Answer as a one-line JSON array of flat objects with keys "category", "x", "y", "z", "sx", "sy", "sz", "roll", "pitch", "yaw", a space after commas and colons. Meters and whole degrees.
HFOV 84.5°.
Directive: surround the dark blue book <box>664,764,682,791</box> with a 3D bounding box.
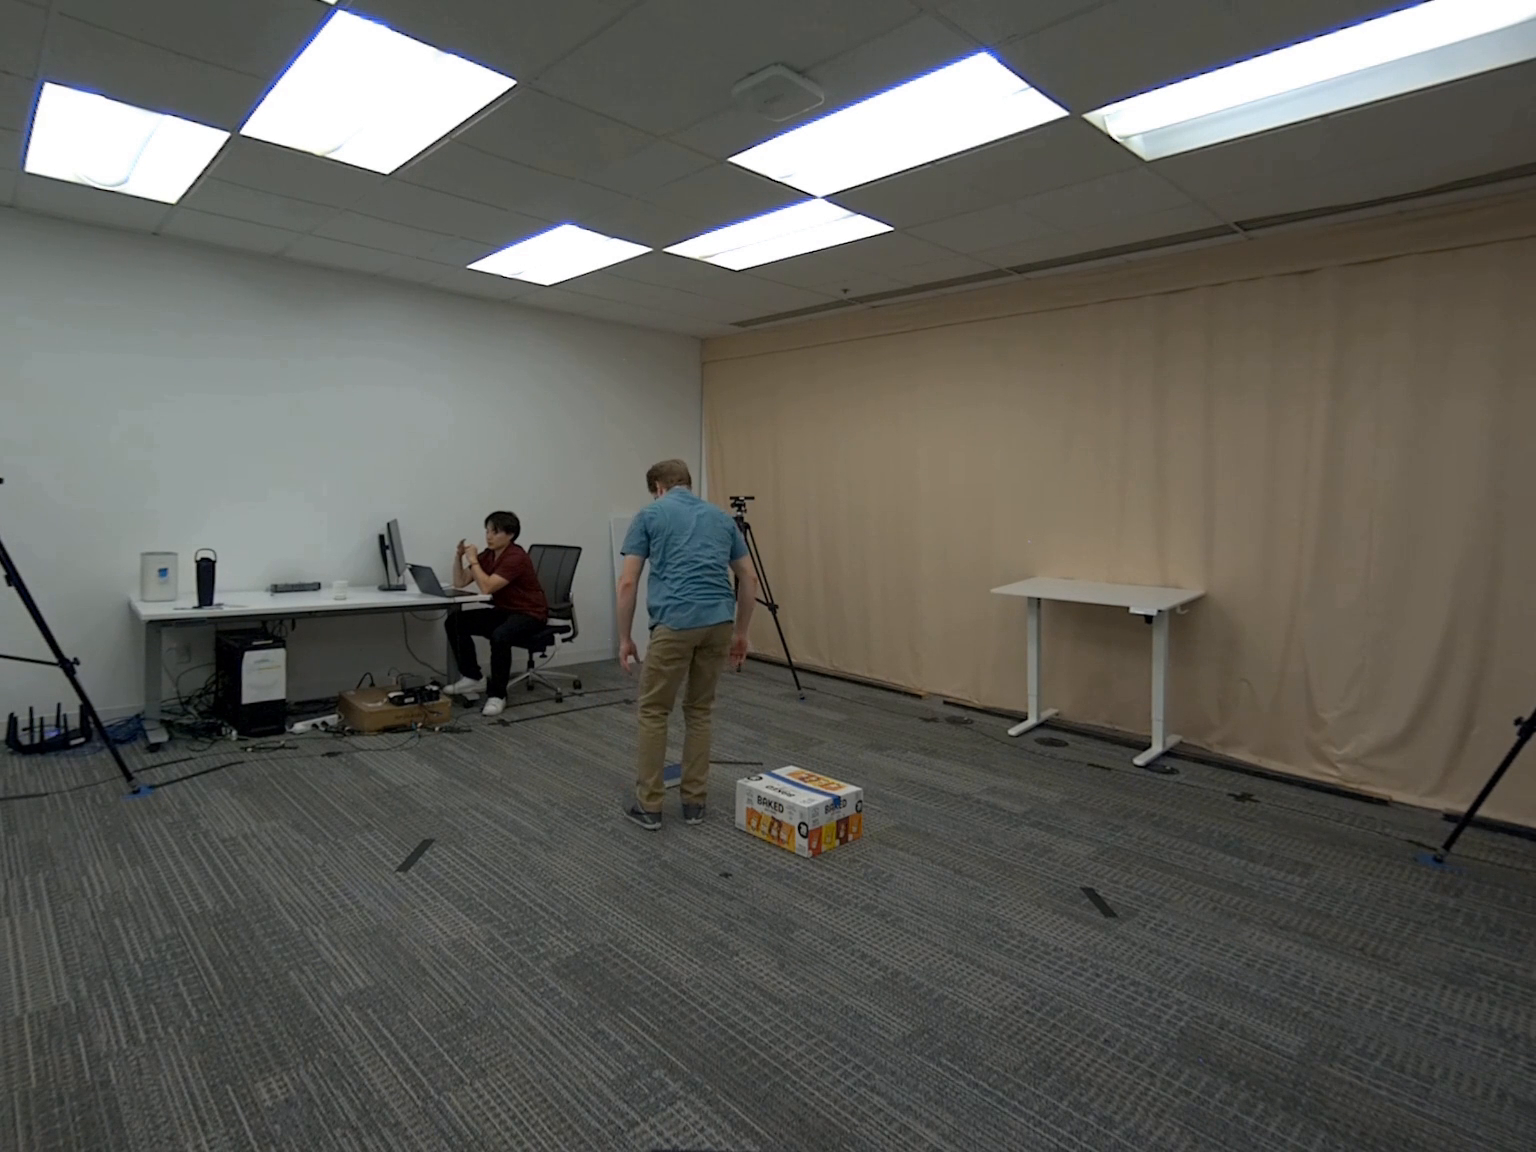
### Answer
[{"category": "dark blue book", "x": -0.471, "y": 0.988, "z": 4.155, "sx": 0.239, "sy": 0.045, "sz": 0.167, "roll": -2, "pitch": 6, "yaw": -43}]
